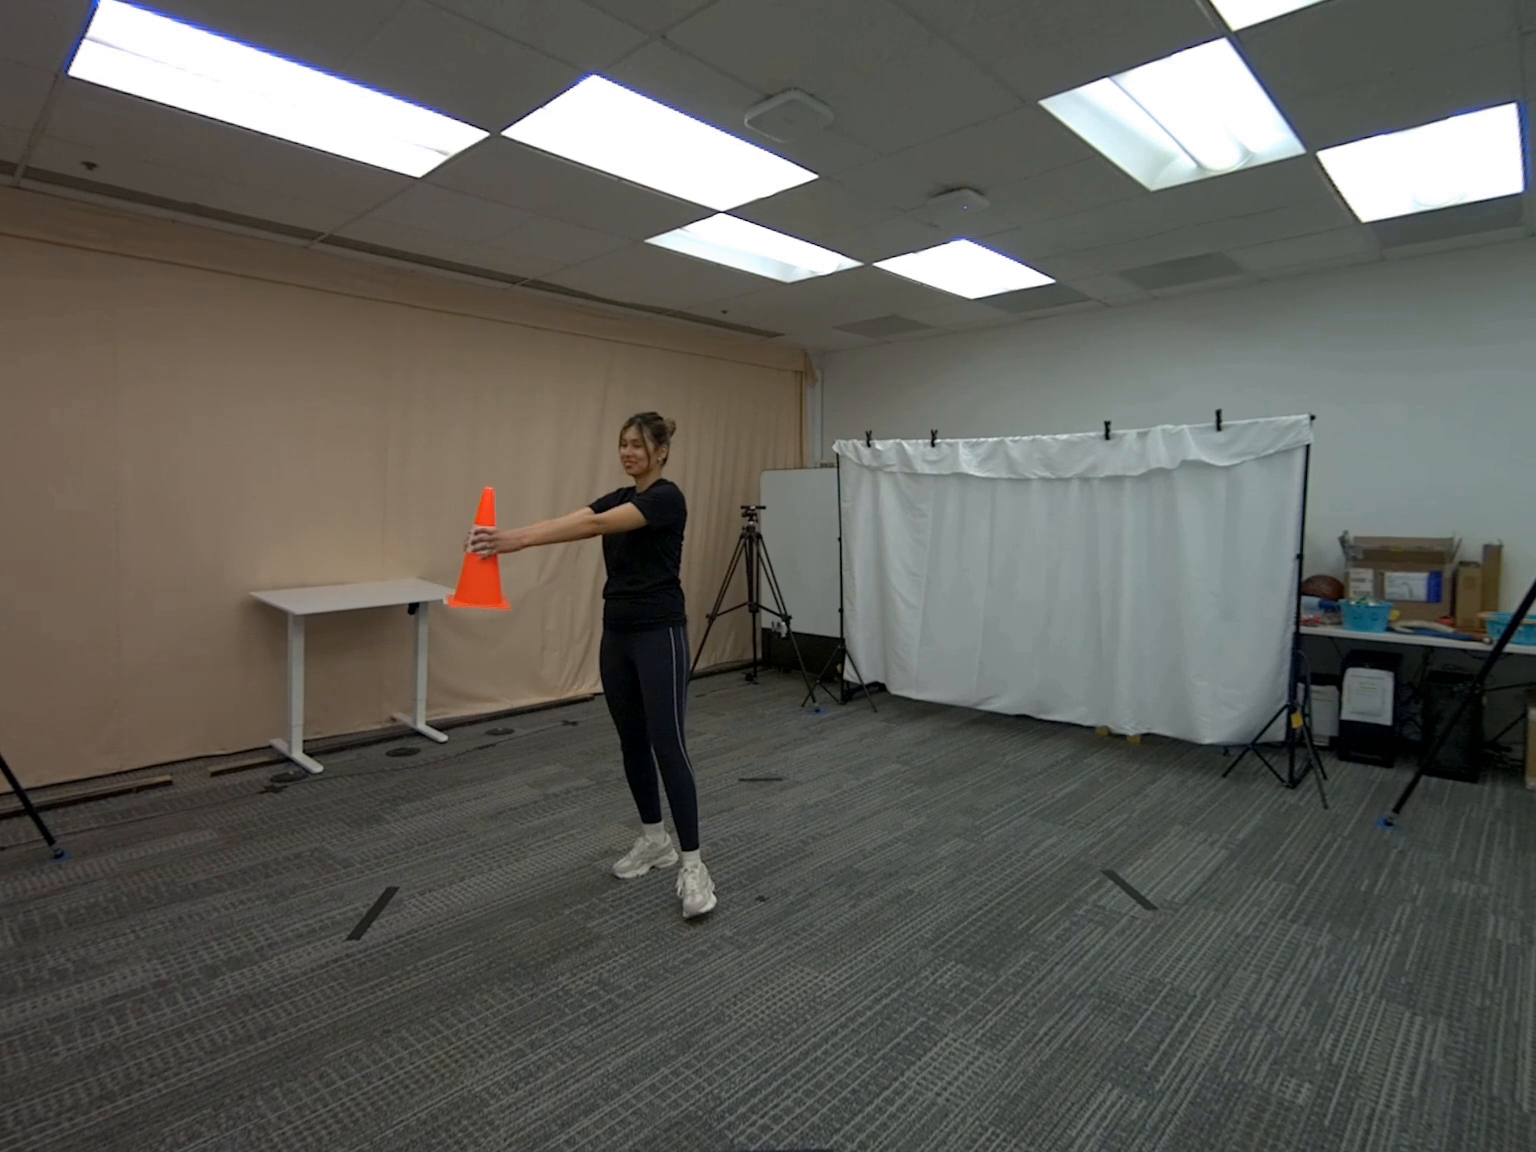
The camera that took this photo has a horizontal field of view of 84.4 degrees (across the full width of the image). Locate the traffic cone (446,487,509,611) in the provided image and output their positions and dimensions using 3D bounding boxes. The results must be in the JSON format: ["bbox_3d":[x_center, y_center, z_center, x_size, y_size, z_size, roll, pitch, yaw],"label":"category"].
[{"bbox_3d":[-0.937,-0.101,2.783,0.209,0.383,0.199,10,5,28],"label":"traffic cone"}]
